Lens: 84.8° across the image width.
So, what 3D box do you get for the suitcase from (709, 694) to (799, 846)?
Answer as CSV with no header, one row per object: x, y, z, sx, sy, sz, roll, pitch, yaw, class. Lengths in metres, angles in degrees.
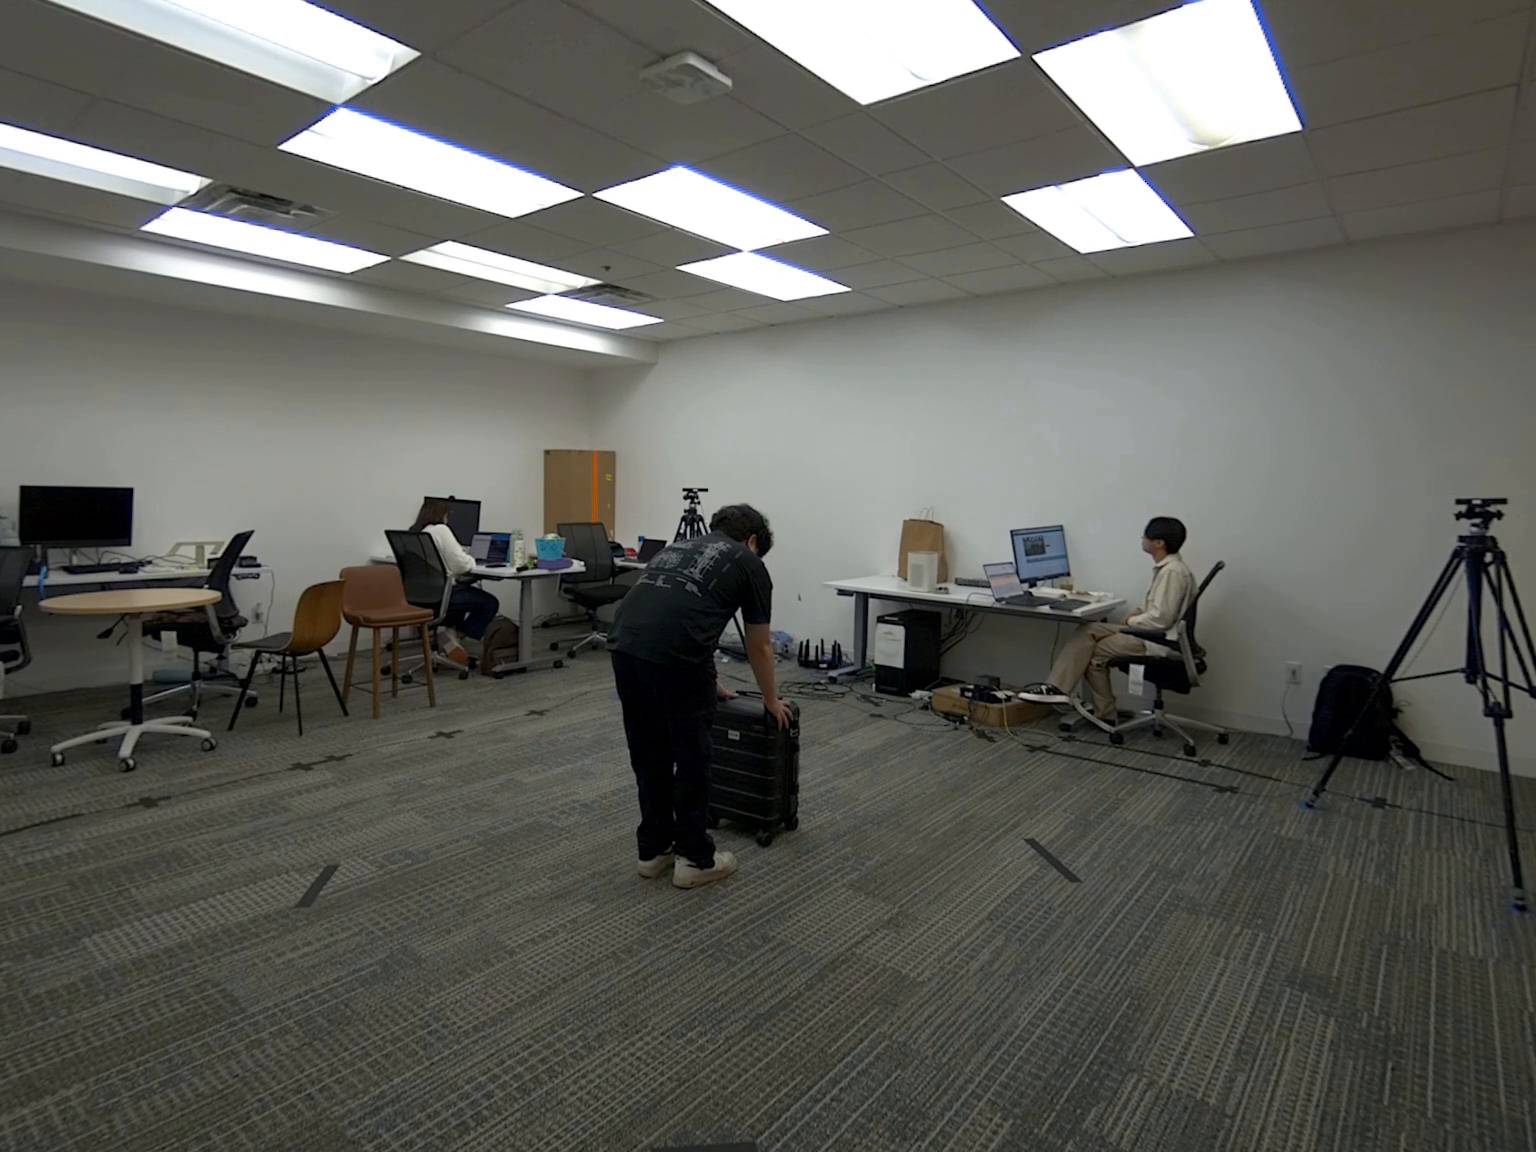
-0.070,0.762,3.507,0.387,0.548,0.241,3,3,31,suitcase
